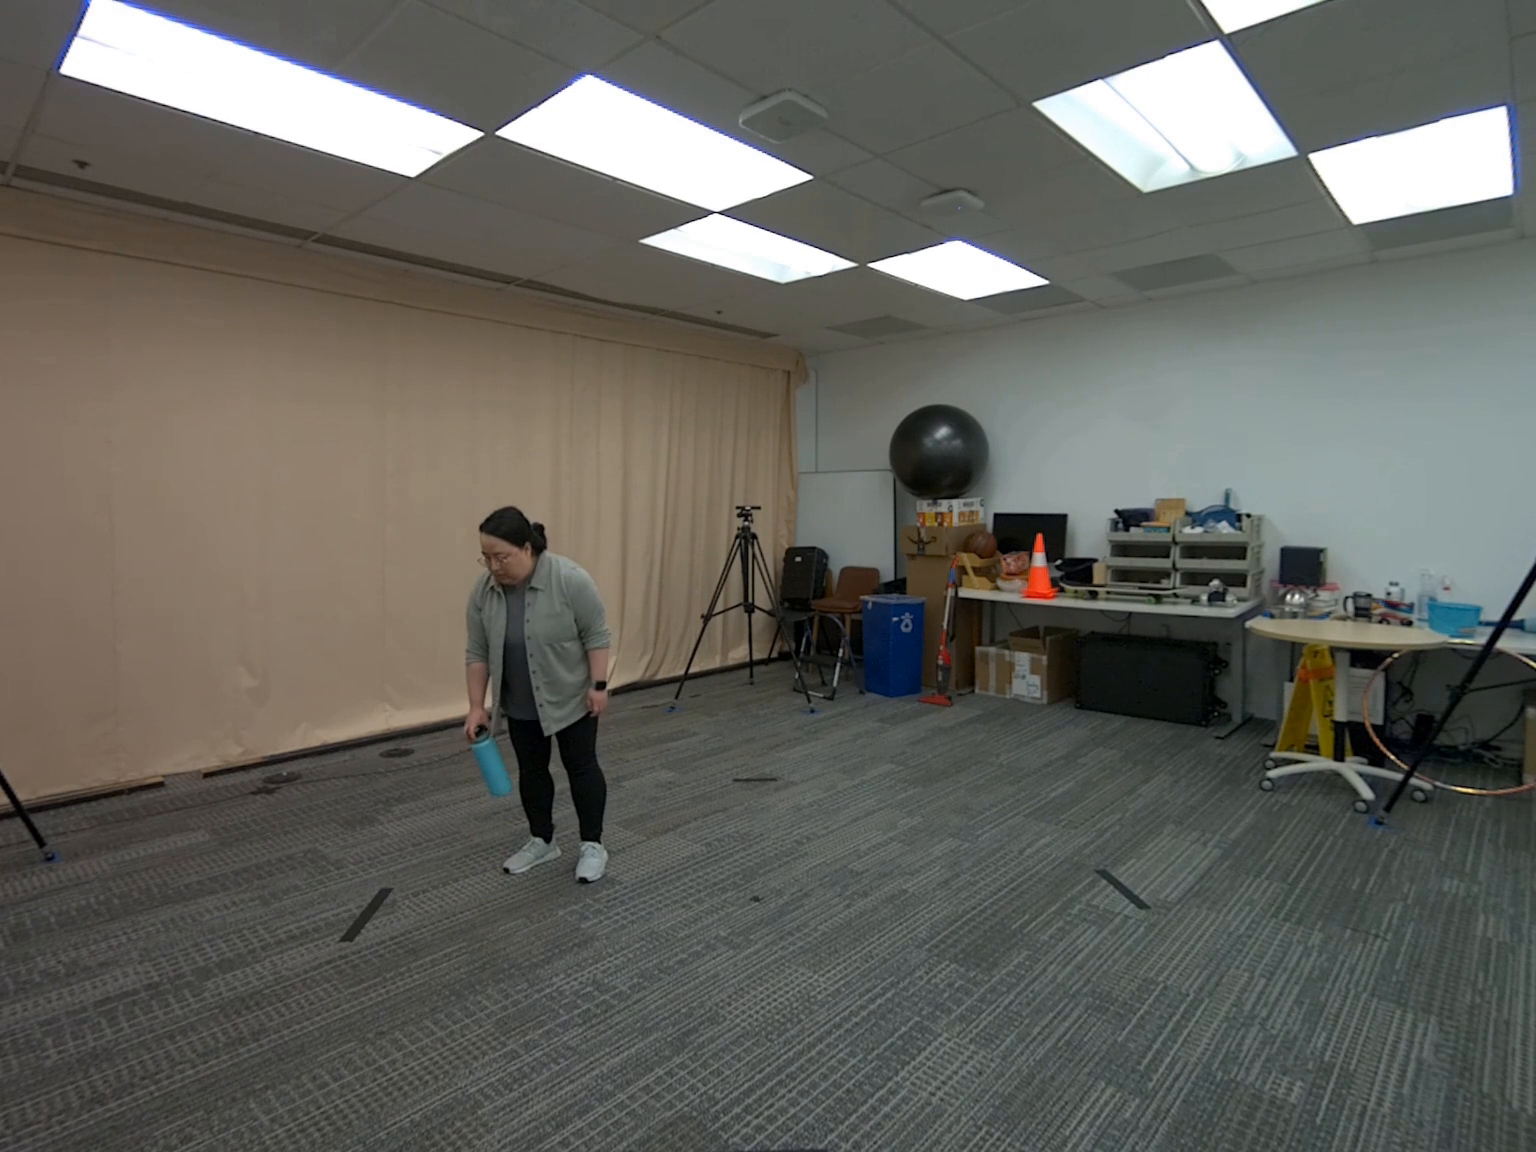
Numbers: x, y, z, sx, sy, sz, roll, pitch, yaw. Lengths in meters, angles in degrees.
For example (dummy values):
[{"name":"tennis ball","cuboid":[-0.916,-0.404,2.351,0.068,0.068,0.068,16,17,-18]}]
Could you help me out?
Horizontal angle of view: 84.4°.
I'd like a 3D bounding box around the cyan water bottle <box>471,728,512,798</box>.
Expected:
[{"name":"cyan water bottle","cuboid":[-1.053,0.690,3.185,0.092,0.280,0.093,-13,14,2]}]
